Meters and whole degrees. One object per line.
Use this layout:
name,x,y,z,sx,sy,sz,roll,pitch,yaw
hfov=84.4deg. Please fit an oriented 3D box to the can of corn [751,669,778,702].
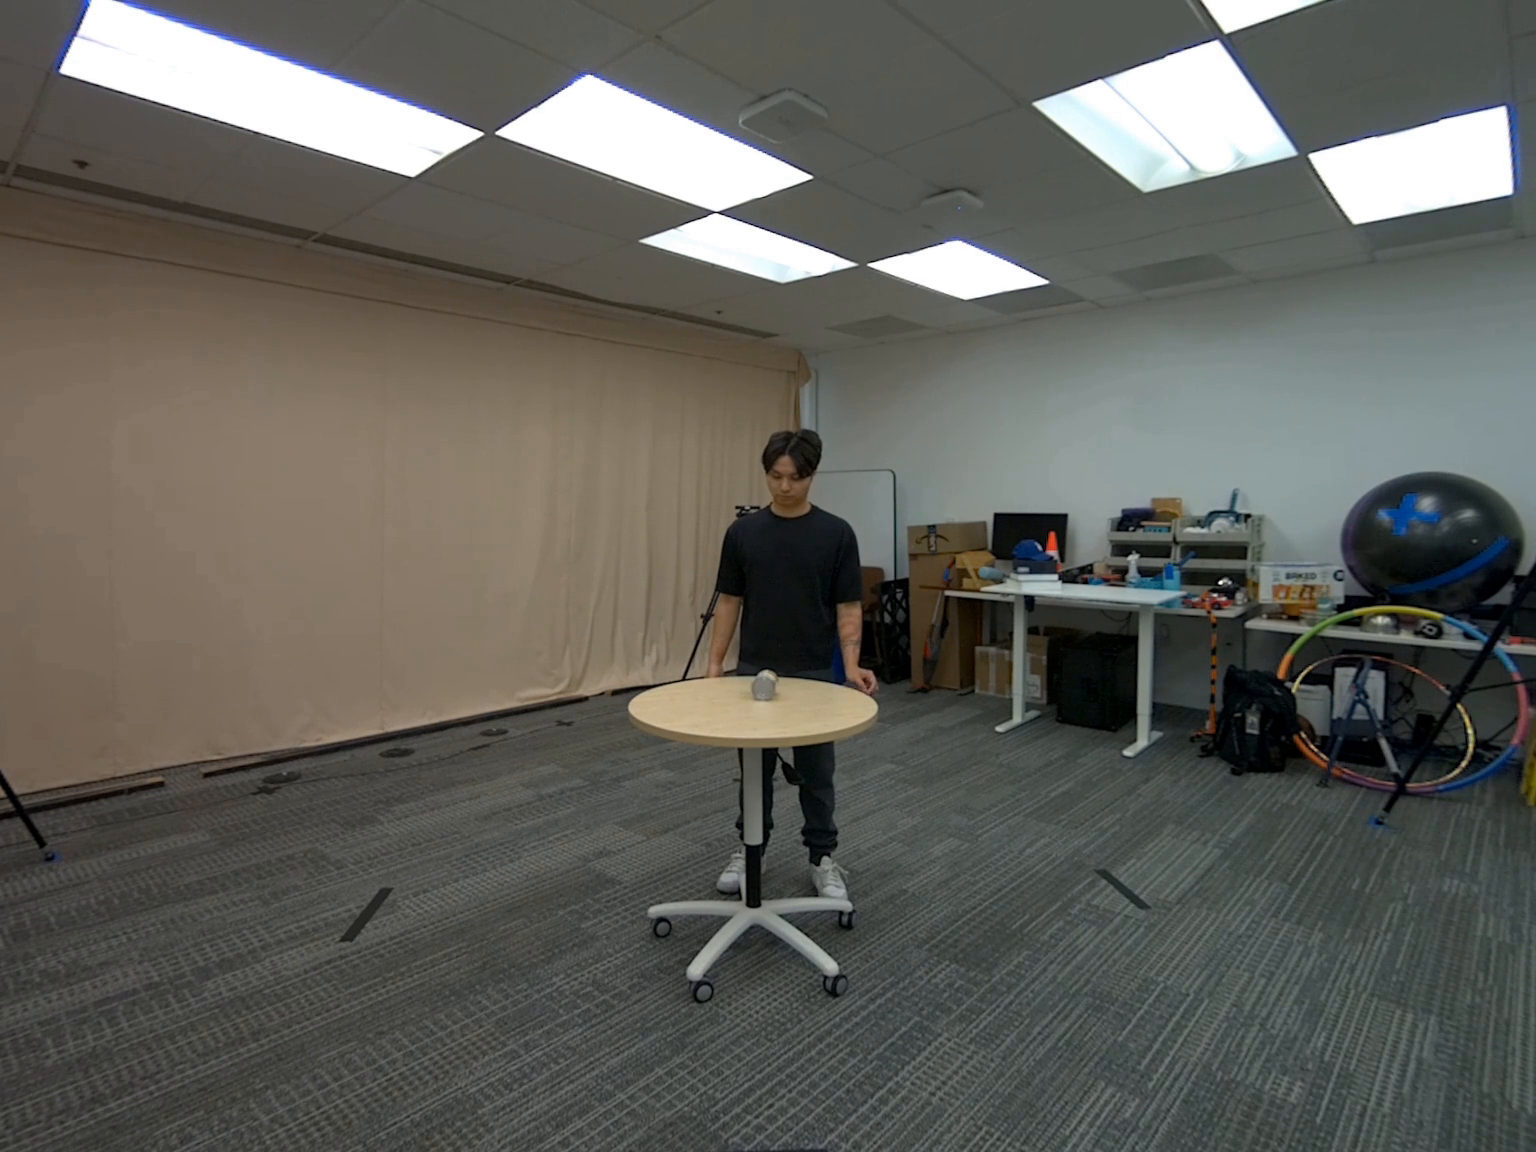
can of corn,-0.010,0.347,2.686,0.074,0.074,0.111,0,2,3
